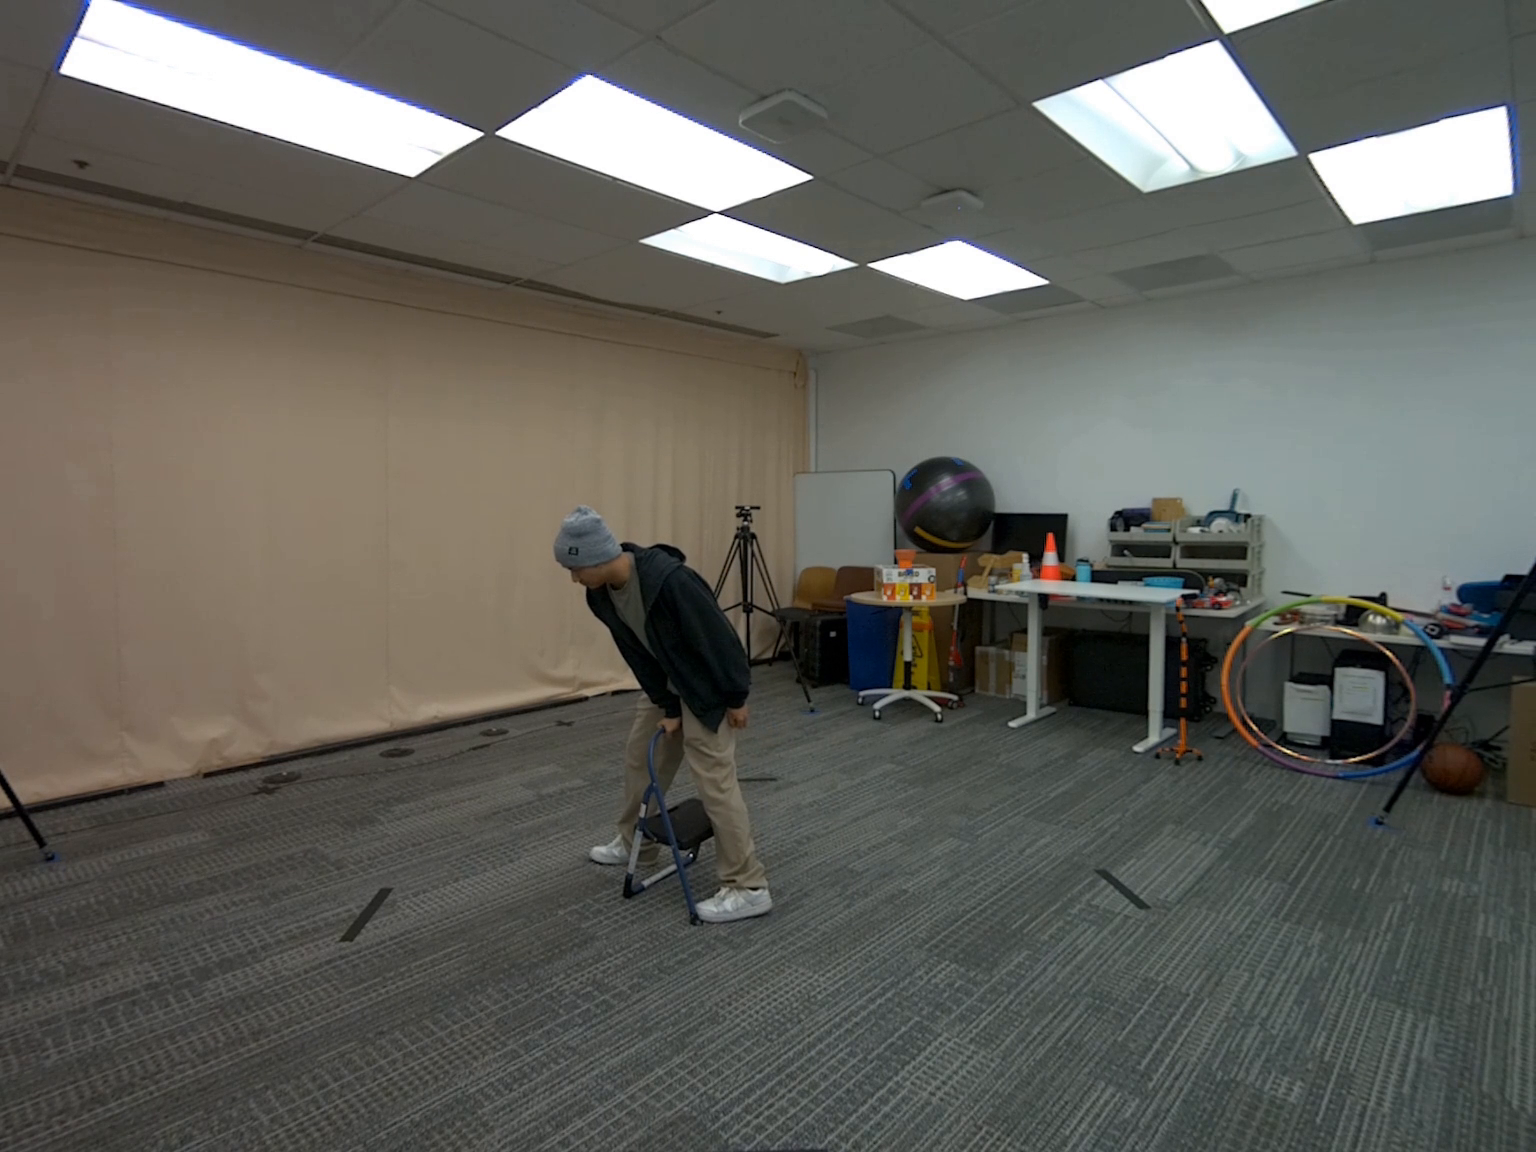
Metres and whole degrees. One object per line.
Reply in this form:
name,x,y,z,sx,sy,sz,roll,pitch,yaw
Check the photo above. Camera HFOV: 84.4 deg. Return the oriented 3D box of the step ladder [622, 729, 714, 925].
step ladder,-0.267,0.839,3.048,0.360,0.605,0.418,1,4,33
